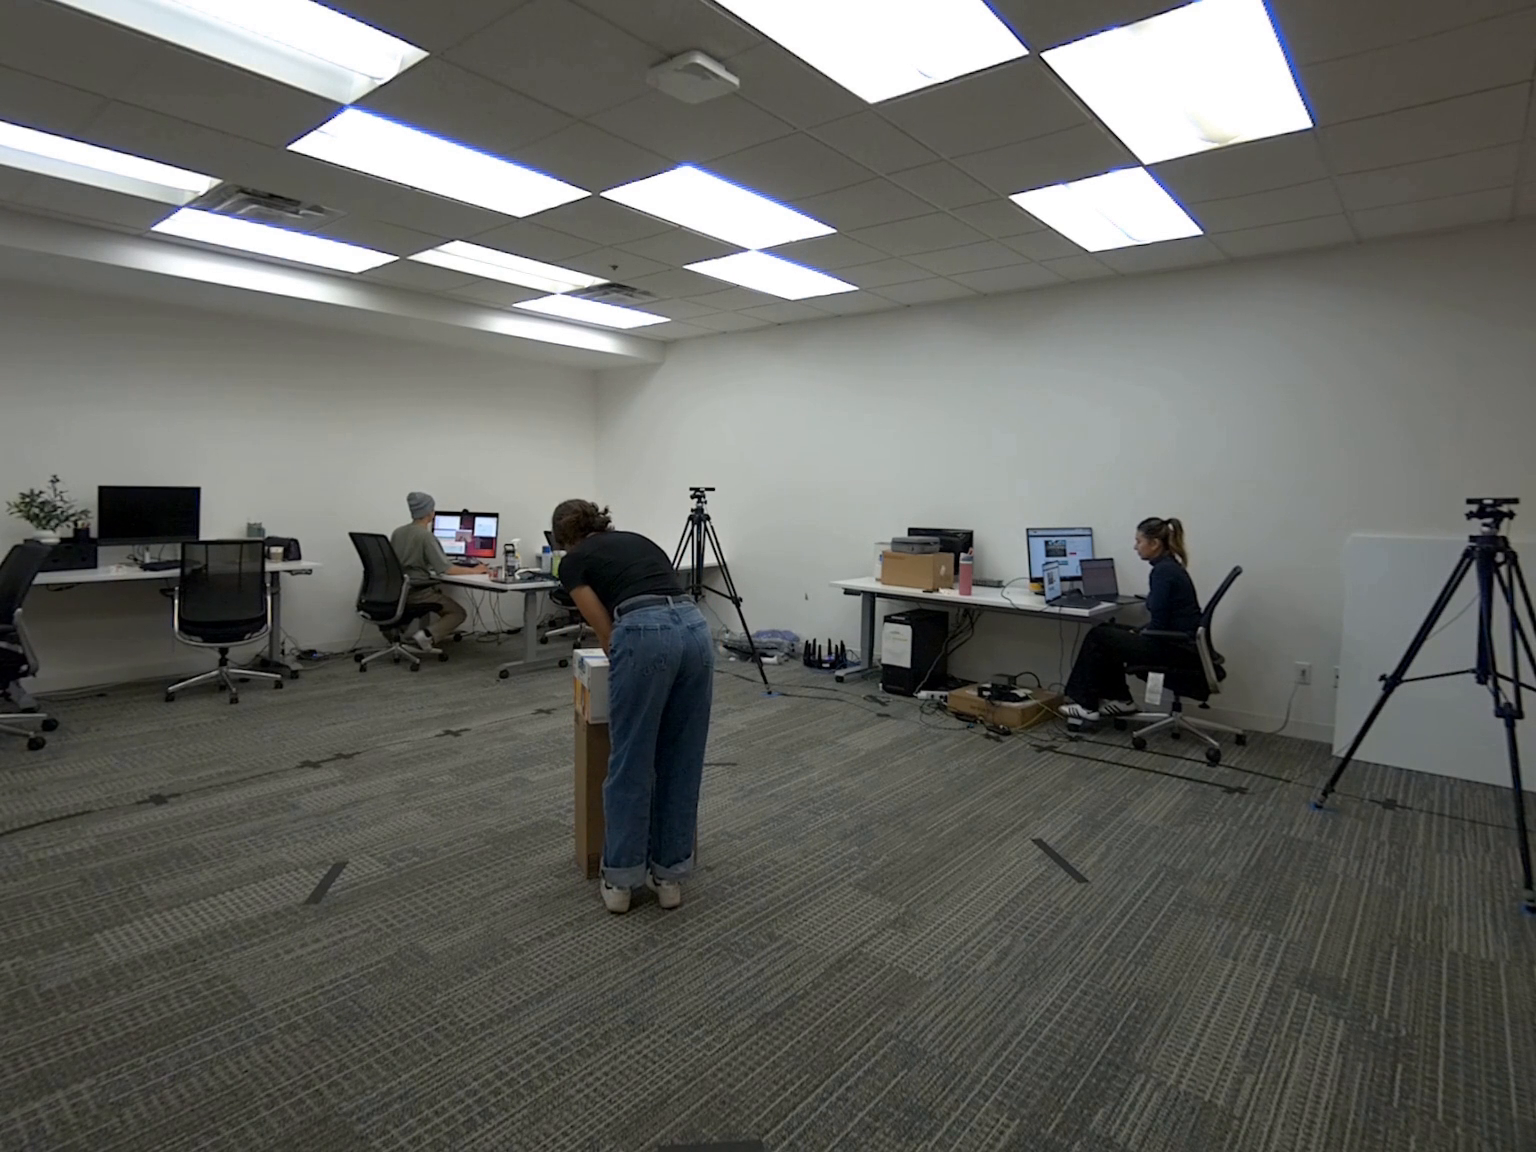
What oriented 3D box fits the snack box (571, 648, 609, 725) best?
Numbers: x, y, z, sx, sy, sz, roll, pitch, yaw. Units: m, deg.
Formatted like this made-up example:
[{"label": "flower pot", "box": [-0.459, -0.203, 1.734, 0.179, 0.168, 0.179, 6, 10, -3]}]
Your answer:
[{"label": "snack box", "box": [-0.501, 0.388, 3.147, 0.397, 0.205, 0.349, -1, 5, -22]}]
